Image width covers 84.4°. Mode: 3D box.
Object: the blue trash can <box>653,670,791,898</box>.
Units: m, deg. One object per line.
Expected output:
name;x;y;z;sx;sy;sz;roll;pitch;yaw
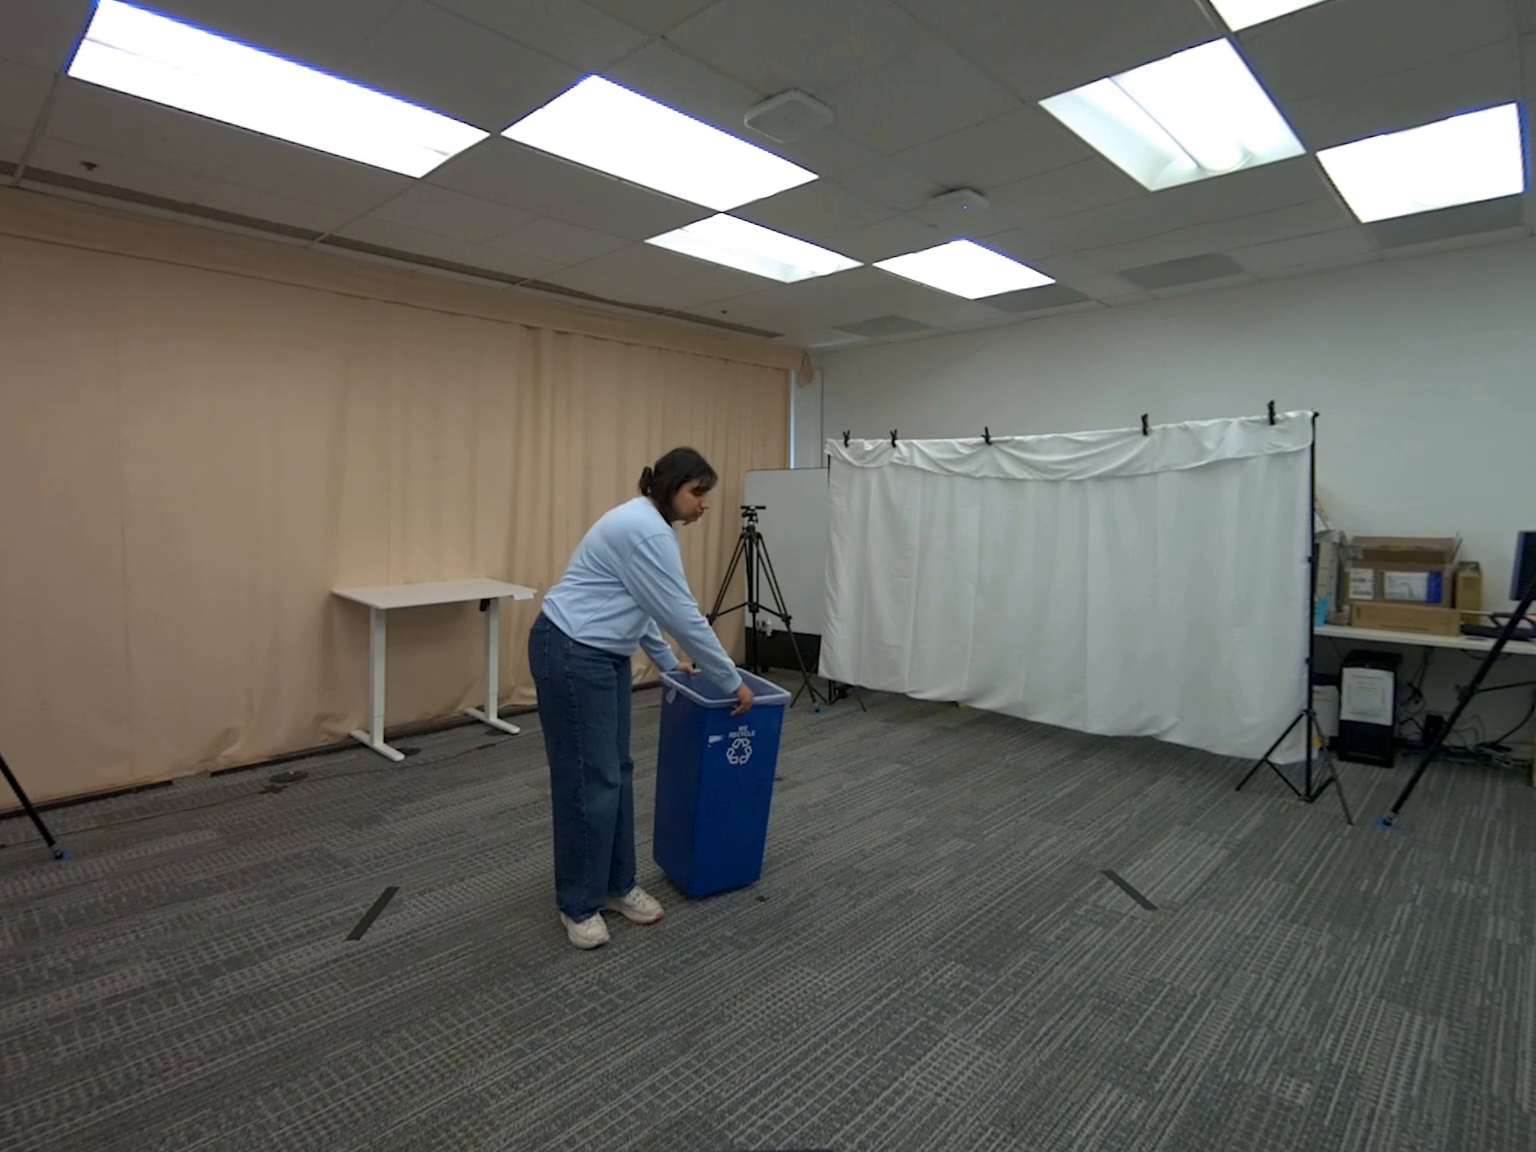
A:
blue trash can;-0.189;0.736;3.086;0.363;0.711;0.391;1;9;-33
